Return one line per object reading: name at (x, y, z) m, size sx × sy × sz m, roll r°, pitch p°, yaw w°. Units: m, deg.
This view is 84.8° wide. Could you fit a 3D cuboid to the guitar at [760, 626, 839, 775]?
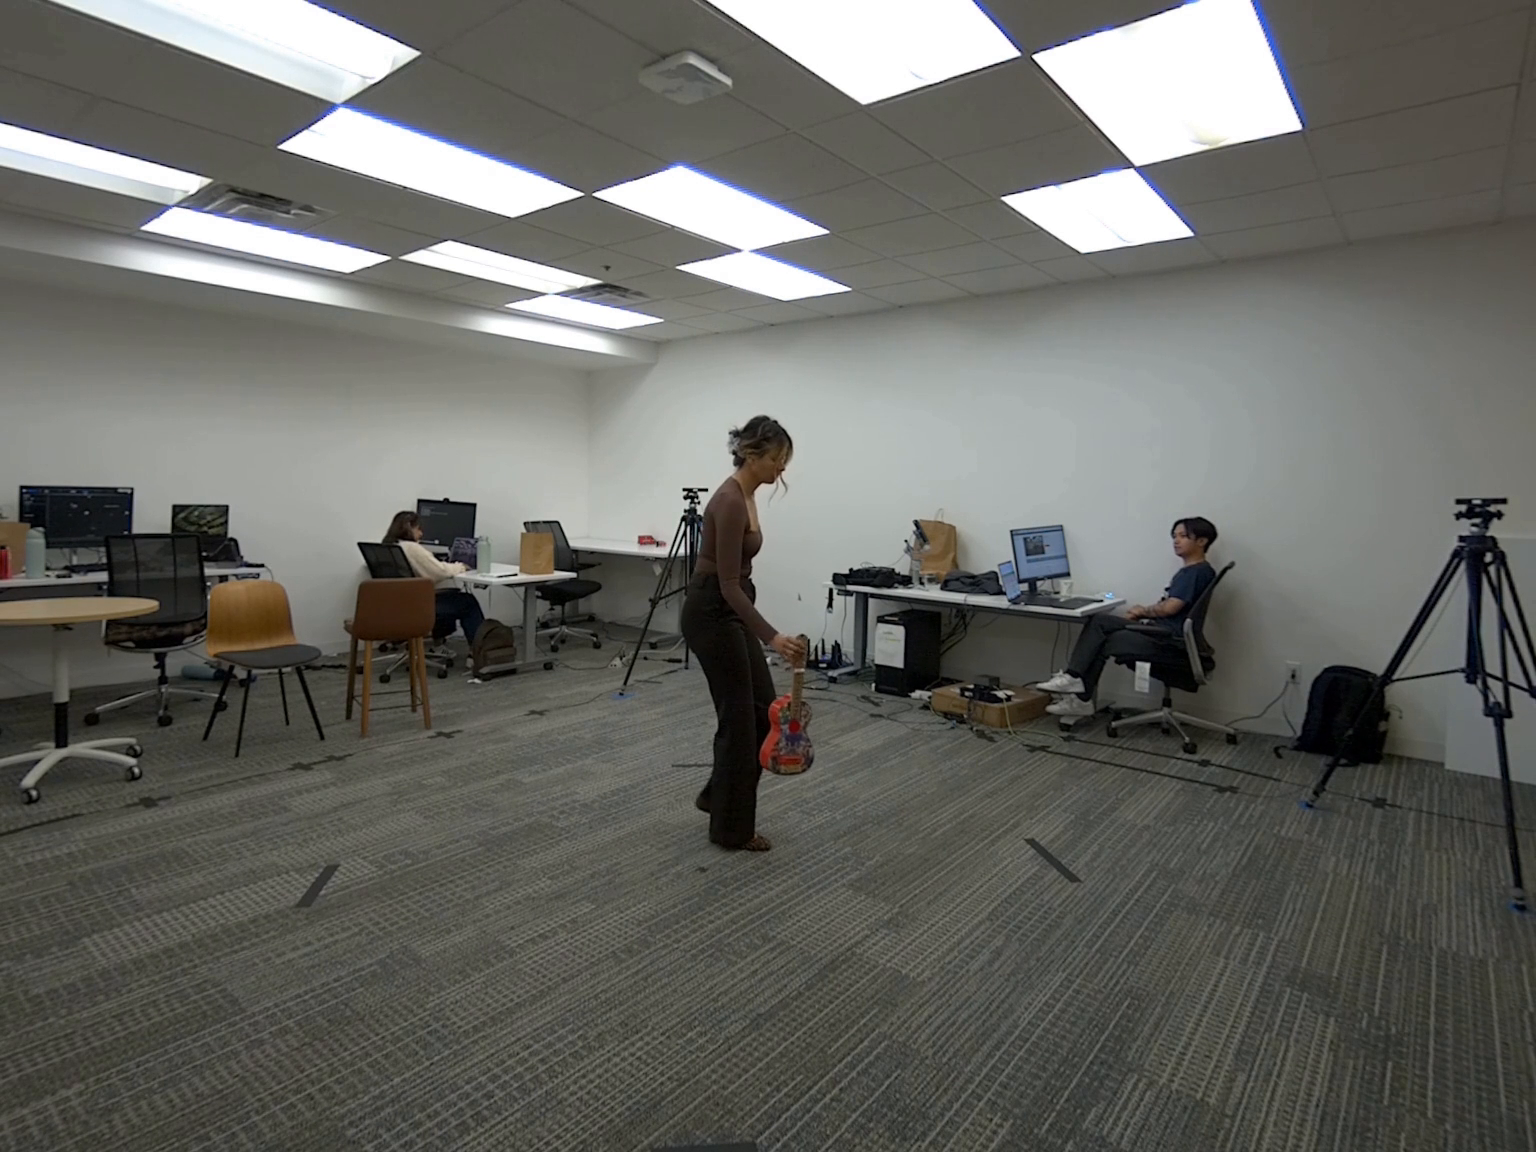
guitar at (0.094, 0.445, 3.015) m, size 0.187 × 0.498 × 0.073 m, roll 14°, pitch -2°, yaw -27°
